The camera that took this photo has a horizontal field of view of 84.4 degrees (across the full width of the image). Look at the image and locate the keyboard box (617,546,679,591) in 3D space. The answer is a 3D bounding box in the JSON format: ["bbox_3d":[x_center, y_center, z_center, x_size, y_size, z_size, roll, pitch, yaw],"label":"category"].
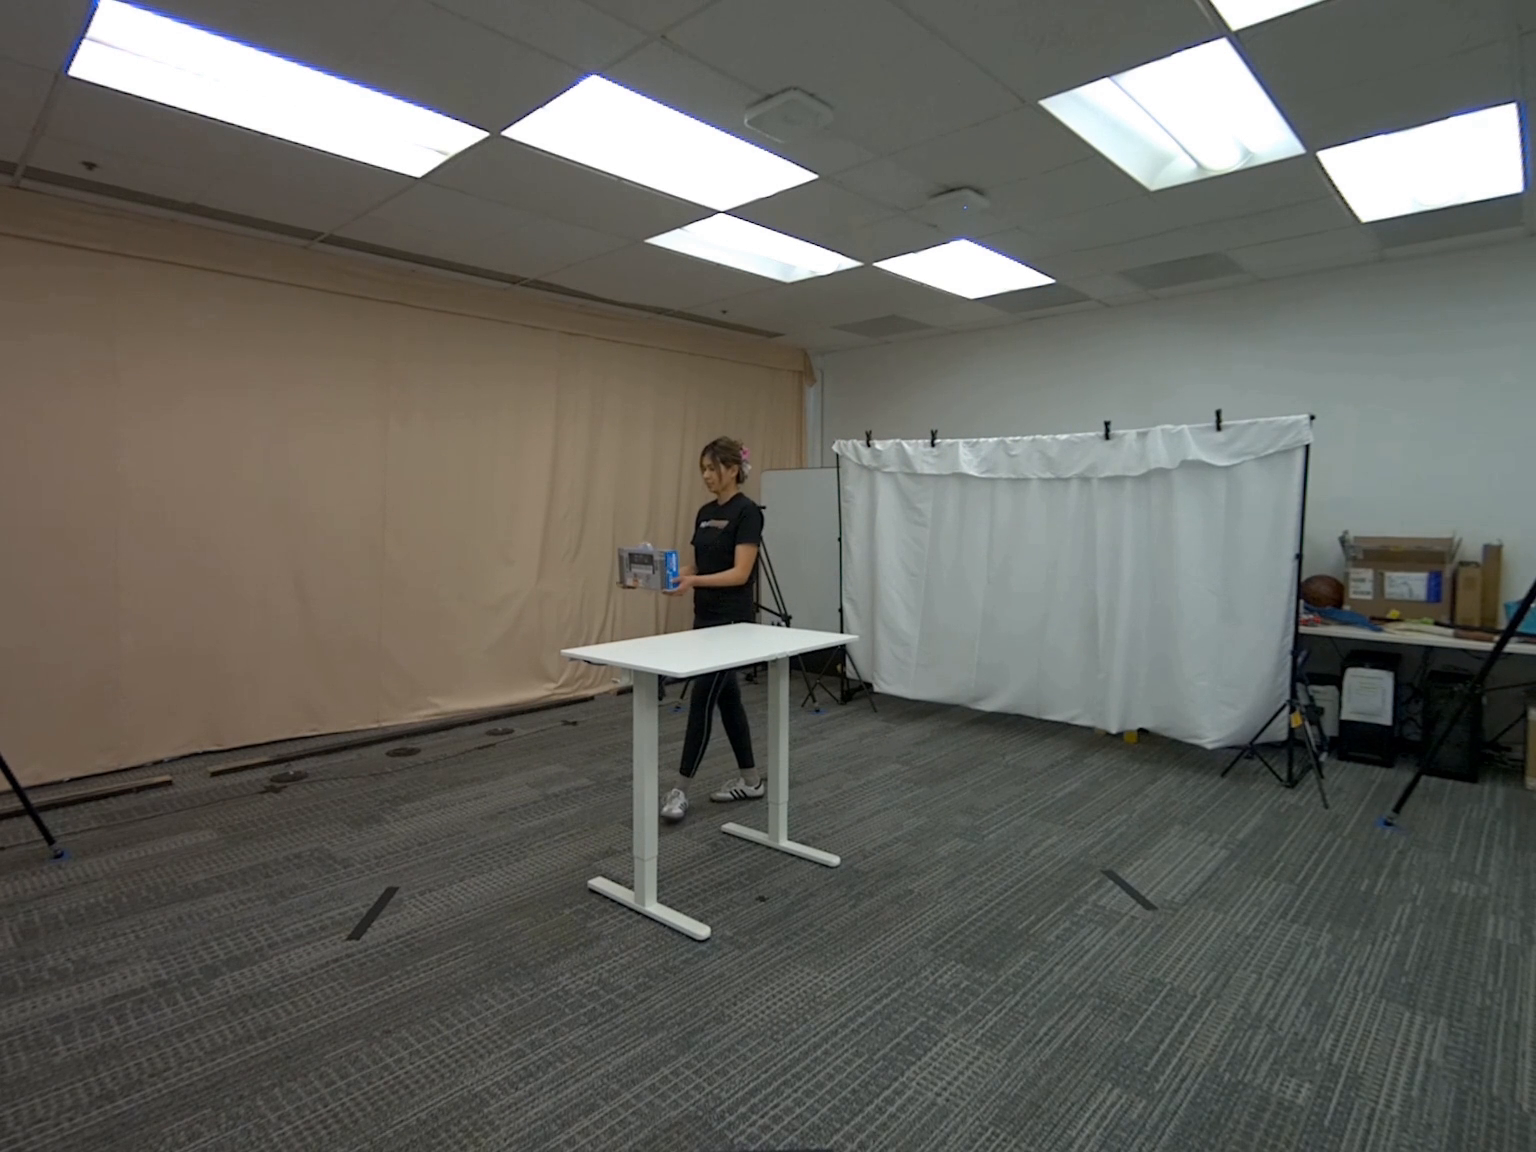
[{"bbox_3d":[-0.532,-0.031,3.719,0.057,0.175,0.451,-7,8,-36],"label":"keyboard box"}]
